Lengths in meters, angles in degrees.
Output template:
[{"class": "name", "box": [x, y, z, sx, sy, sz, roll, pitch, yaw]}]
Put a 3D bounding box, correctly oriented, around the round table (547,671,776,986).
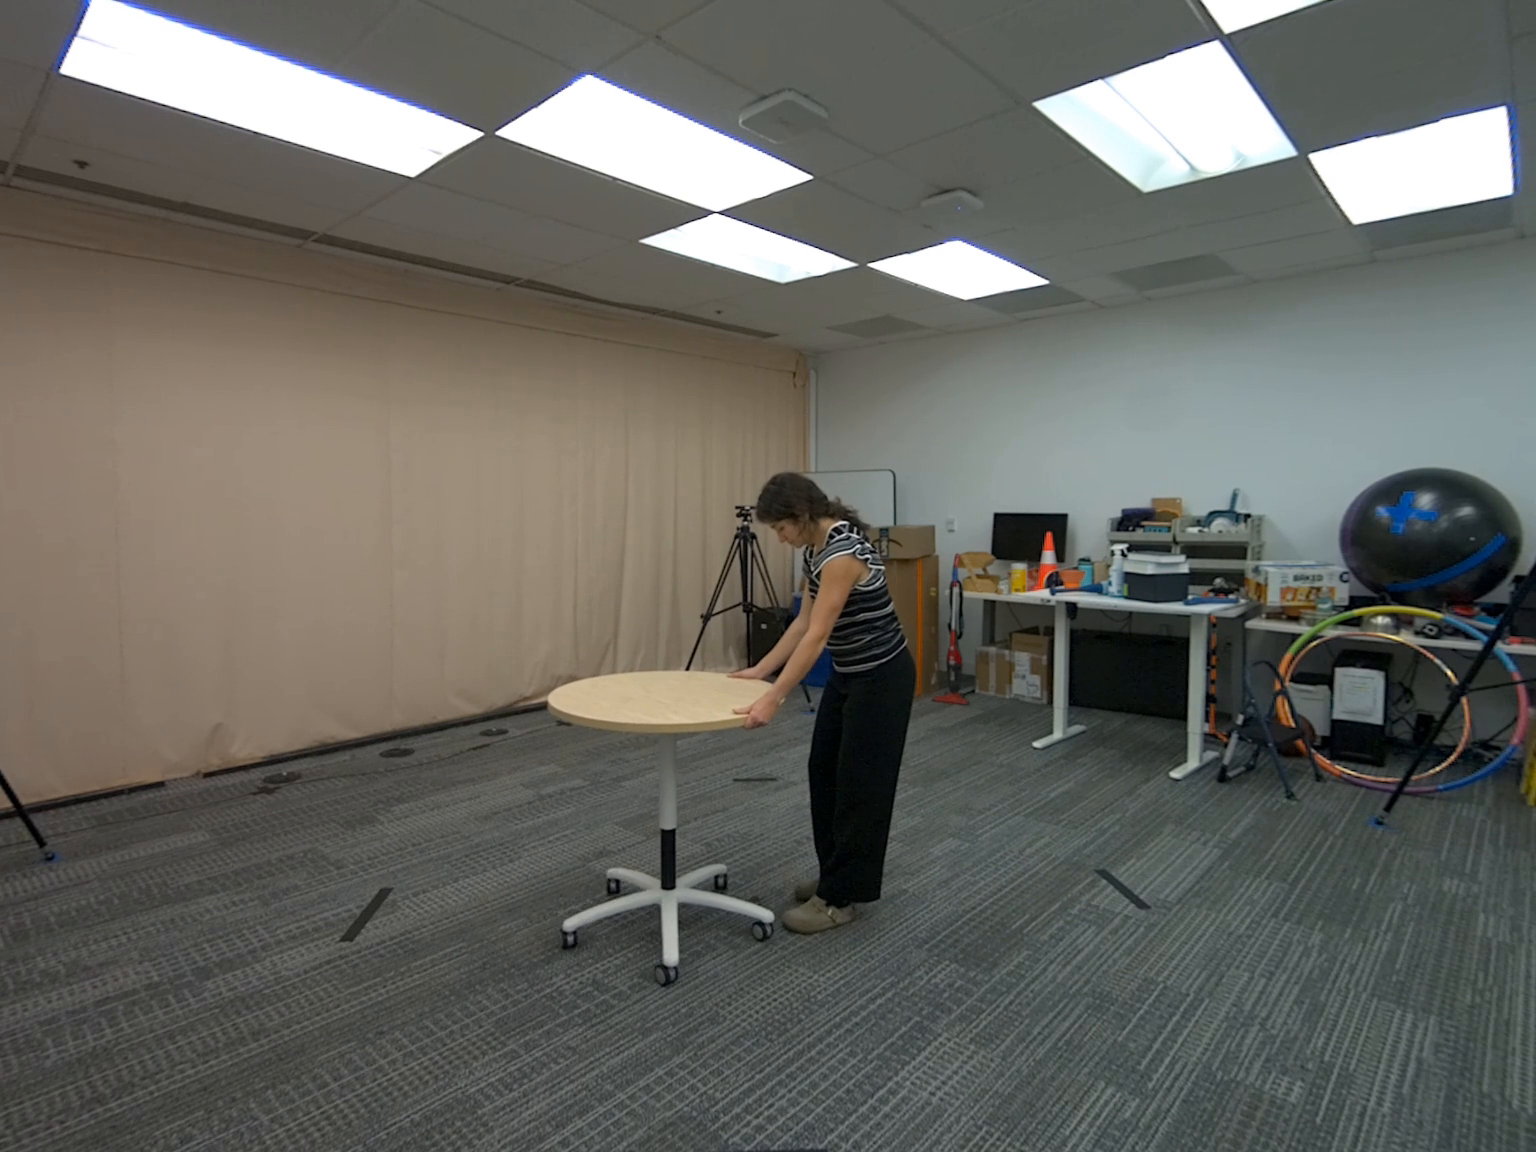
[{"class": "round table", "box": [-0.332, 0.778, 2.765, 0.763, 0.792, 0.766, 0, 4, -2]}]
